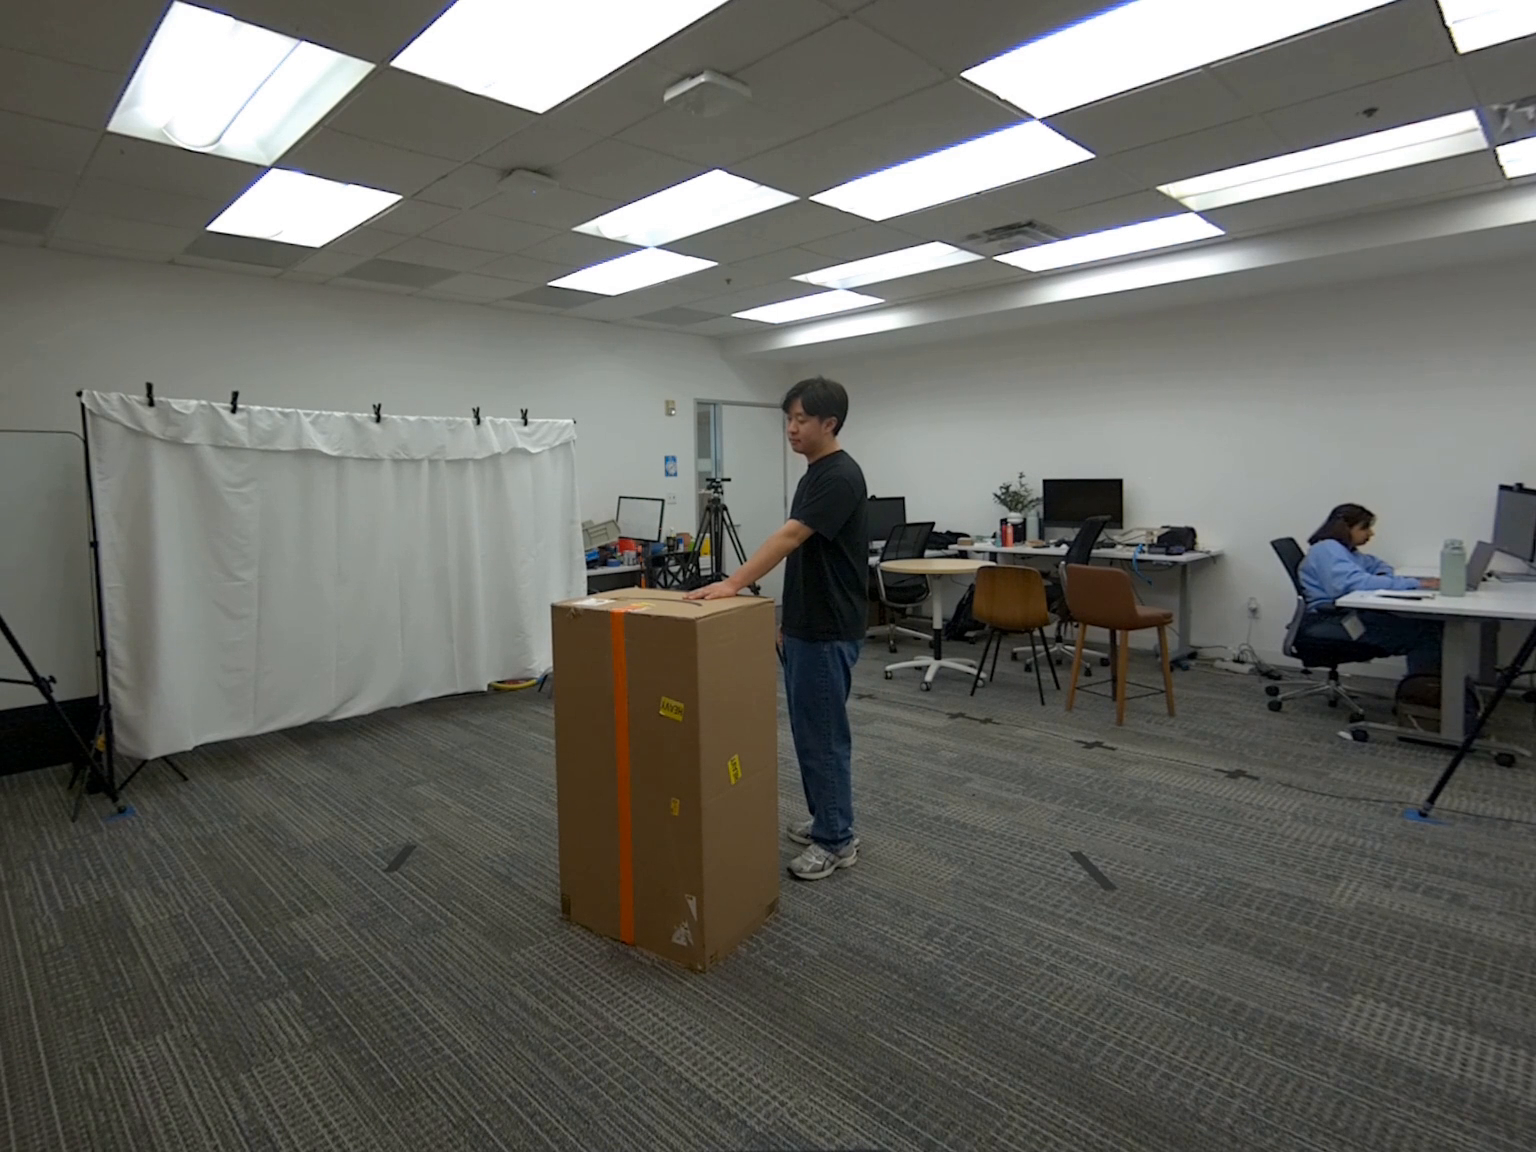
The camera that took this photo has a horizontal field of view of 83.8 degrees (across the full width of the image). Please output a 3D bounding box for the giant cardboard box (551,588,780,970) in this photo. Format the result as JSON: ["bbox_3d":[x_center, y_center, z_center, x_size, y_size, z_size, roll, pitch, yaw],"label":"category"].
[{"bbox_3d":[-0.321,0.580,2.712,0.601,1.022,0.436,2,6,35],"label":"giant cardboard box"}]
